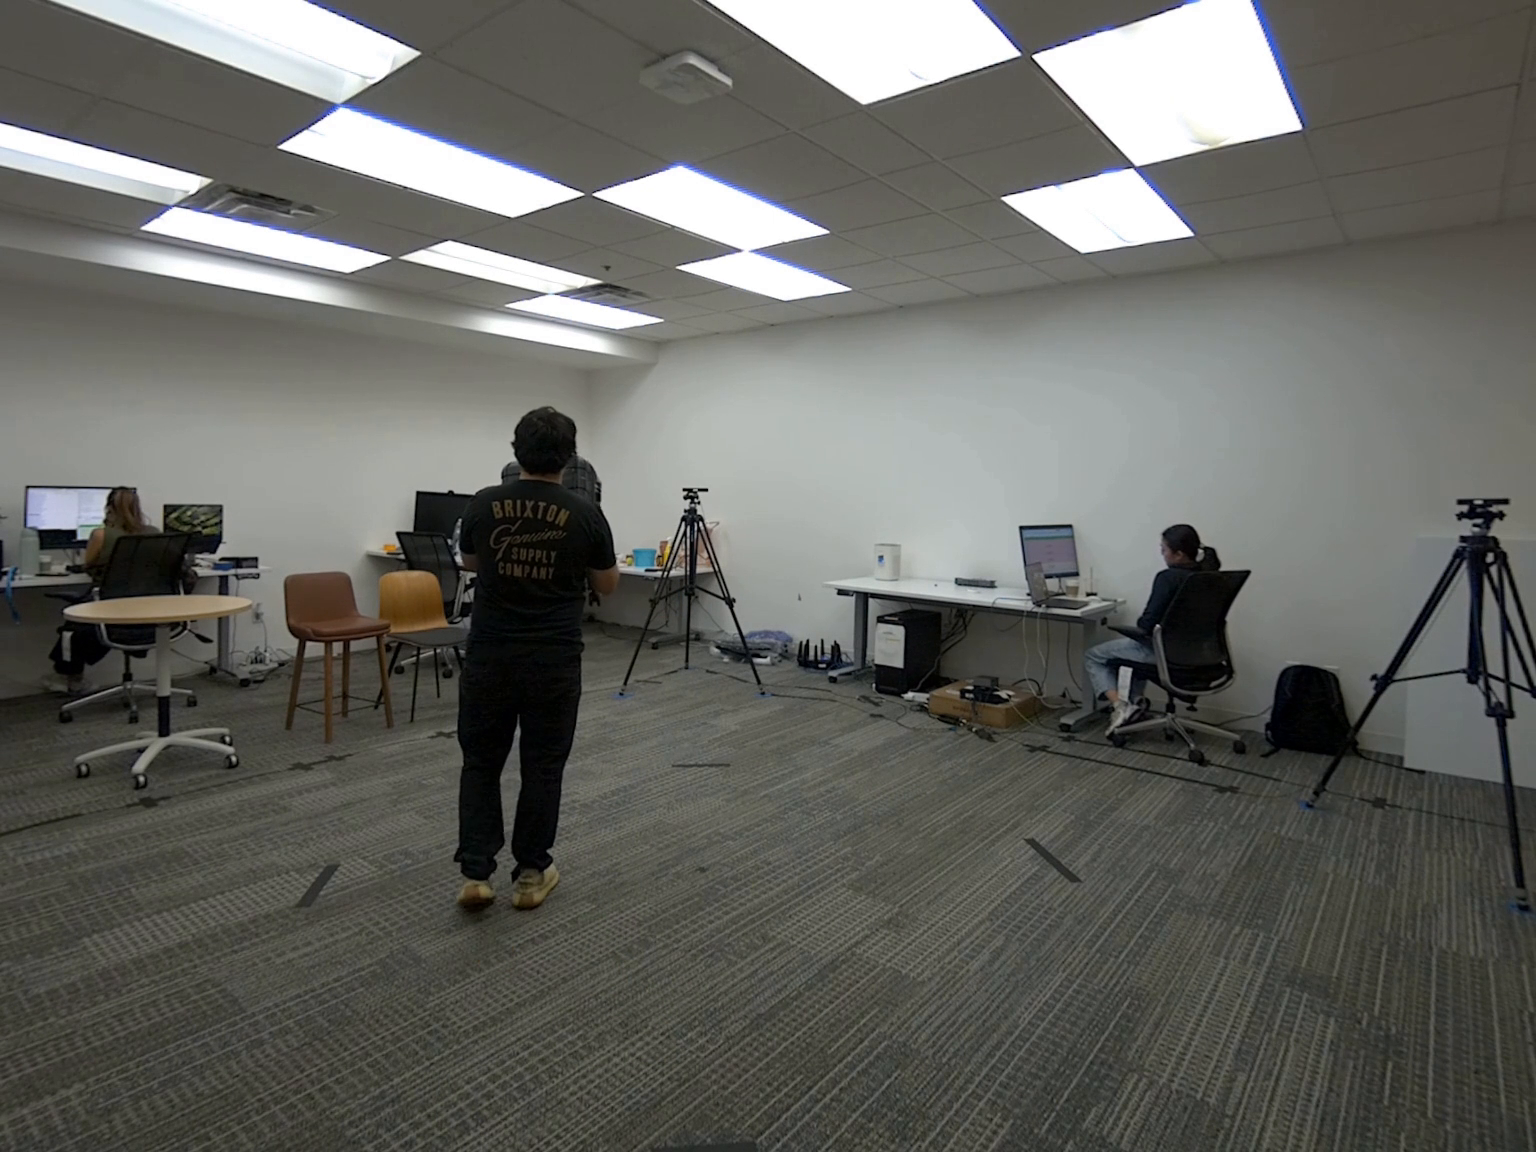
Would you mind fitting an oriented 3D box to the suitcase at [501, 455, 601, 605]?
[{"bbox_3d":[-0.824,-0.179,3.211,0.378,0.559,0.242,-5,-18,7],"label":"suitcase"}]
